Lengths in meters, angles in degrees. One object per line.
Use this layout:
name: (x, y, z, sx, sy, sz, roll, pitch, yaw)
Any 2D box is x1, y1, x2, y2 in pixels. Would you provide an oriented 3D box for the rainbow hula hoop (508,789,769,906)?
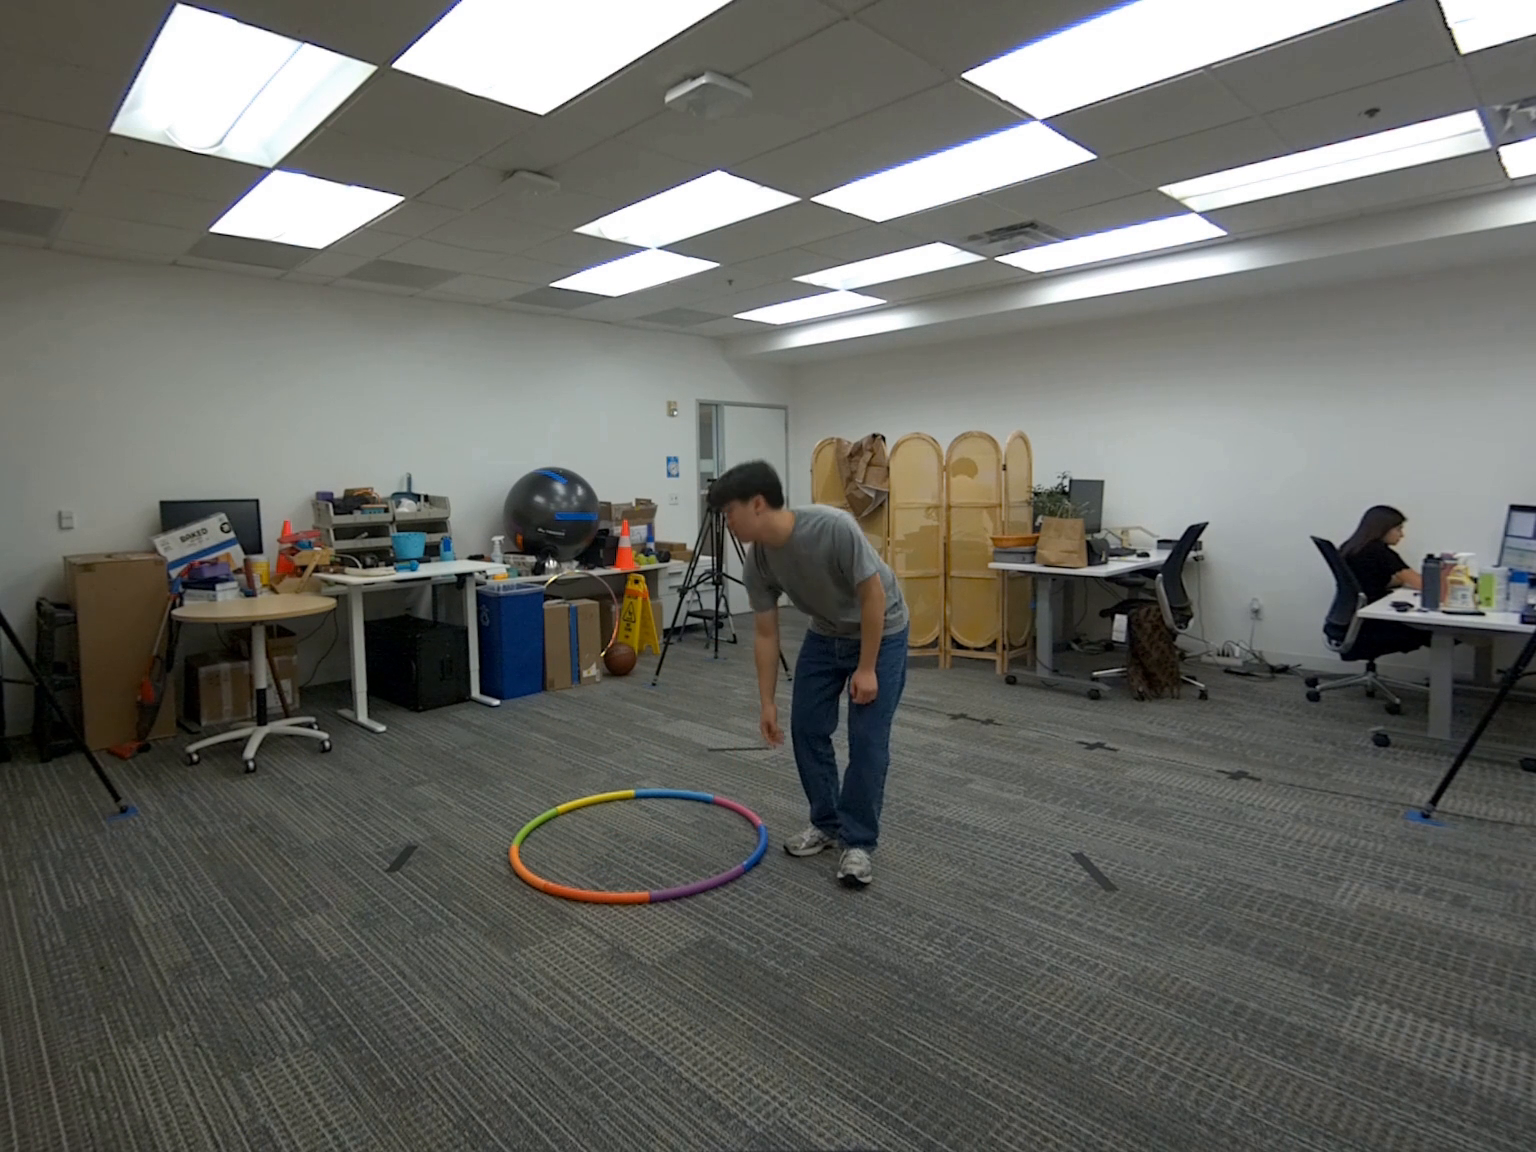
rainbow hula hoop: (-0.489, 0.998, 3.304, 0.978, 0.035, 0.984, -1, 7, -2)
